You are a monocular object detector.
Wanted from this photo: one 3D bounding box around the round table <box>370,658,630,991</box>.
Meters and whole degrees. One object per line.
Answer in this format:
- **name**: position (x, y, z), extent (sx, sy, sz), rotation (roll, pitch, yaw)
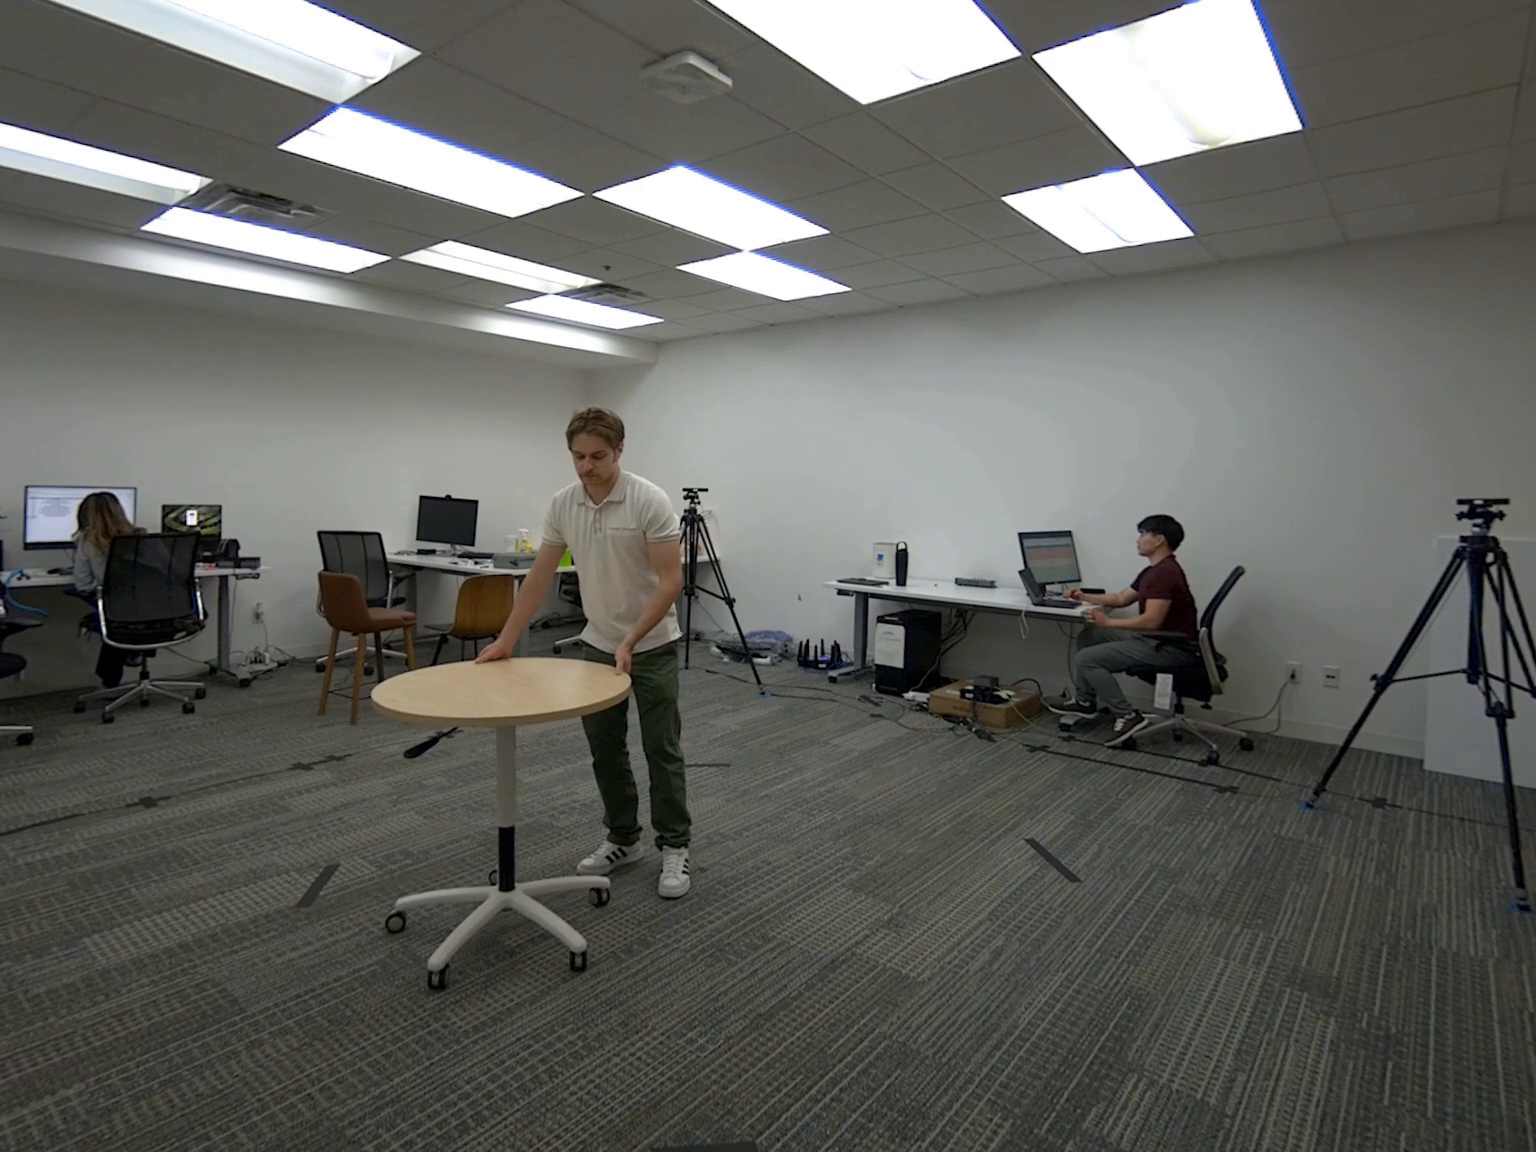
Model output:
- **round table**: position (-0.815, 0.720, 2.615), extent (0.763, 0.791, 0.768), rotation (0, 5, -2)
